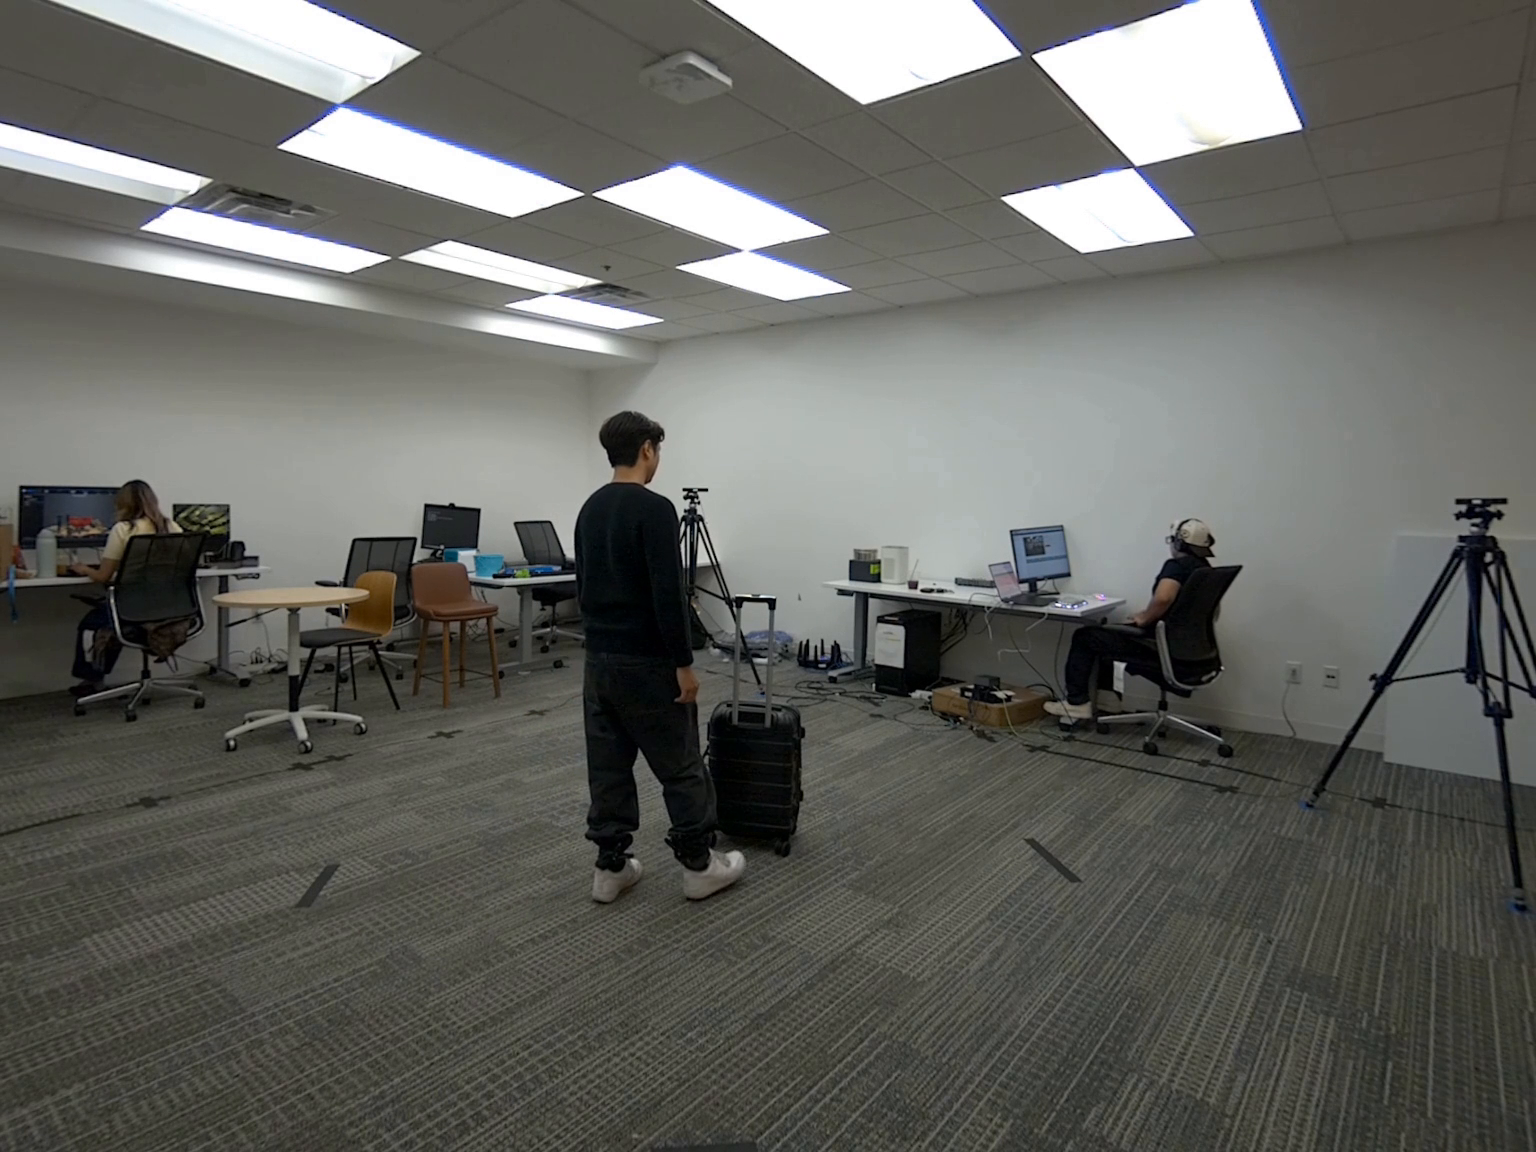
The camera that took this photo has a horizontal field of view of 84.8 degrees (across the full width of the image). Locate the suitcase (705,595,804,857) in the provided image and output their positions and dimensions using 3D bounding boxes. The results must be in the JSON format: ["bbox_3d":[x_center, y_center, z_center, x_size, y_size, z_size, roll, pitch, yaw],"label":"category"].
[{"bbox_3d":[-0.056,0.566,3.387,0.389,0.979,0.254,2,0,10],"label":"suitcase"}]
